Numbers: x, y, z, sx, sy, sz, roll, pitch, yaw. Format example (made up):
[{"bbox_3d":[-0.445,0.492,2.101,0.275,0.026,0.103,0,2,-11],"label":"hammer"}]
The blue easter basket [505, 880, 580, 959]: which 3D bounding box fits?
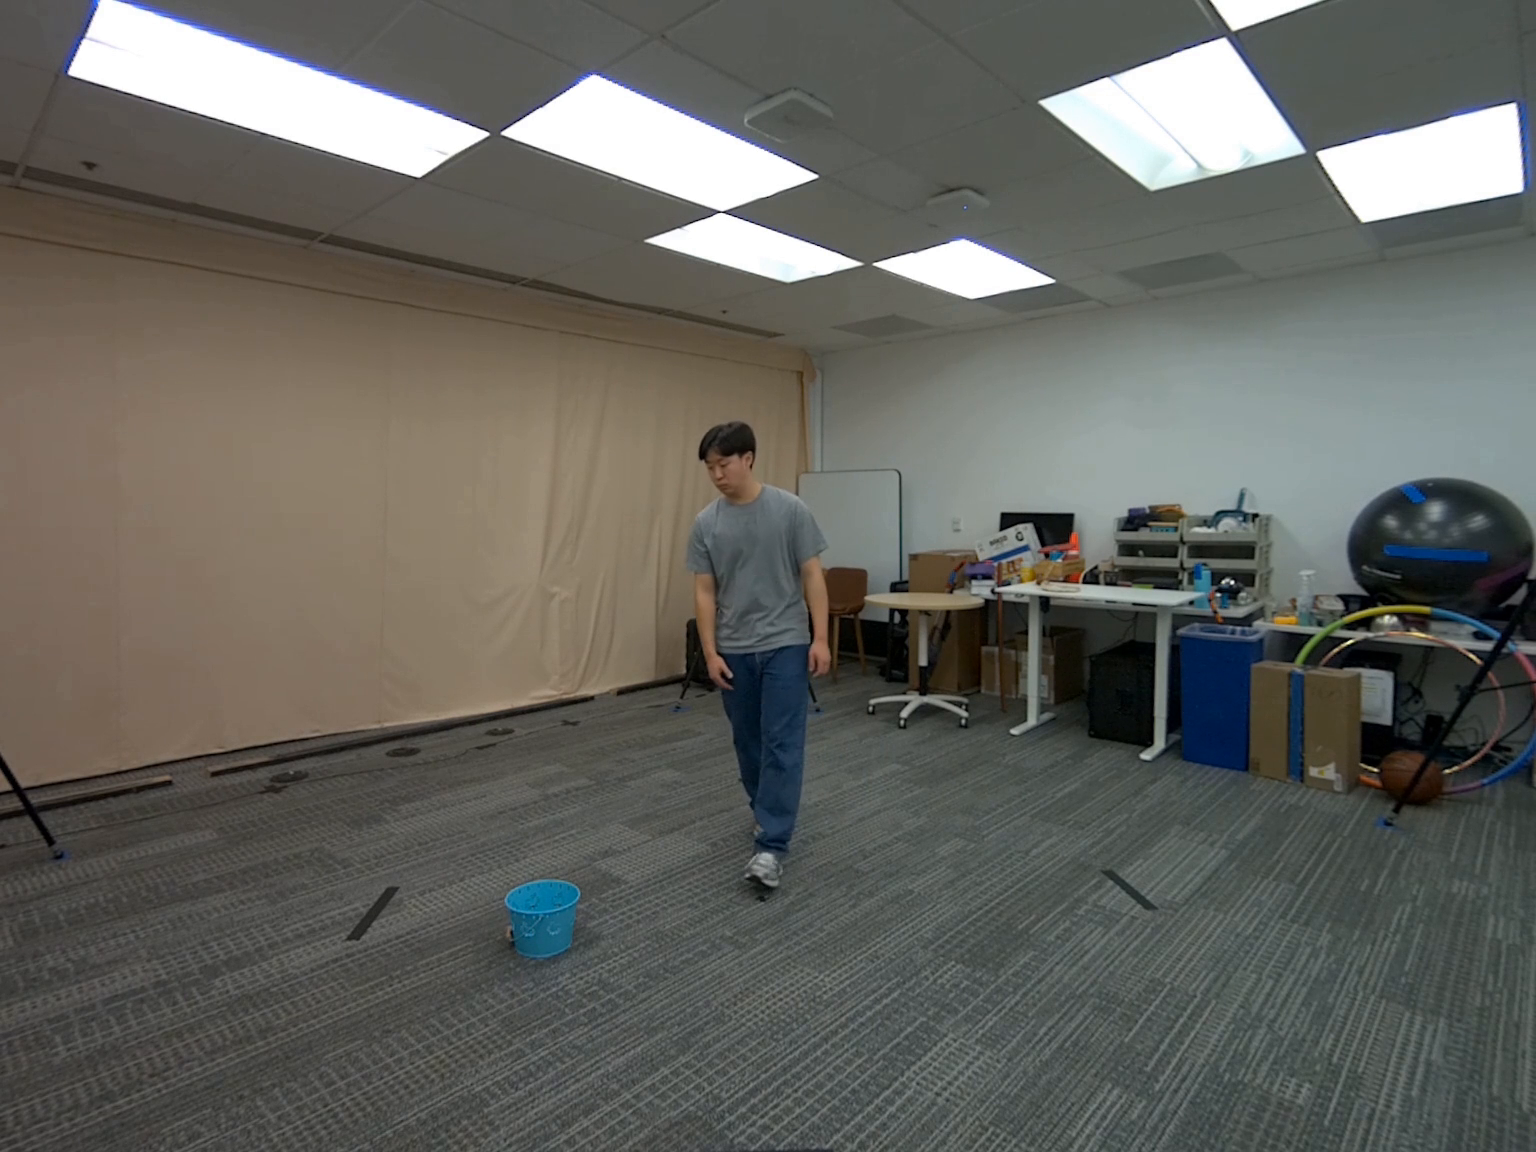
[{"bbox_3d":[-0.721,1.096,2.689,0.243,0.155,0.244,0,4,-2],"label":"blue easter basket"}]
